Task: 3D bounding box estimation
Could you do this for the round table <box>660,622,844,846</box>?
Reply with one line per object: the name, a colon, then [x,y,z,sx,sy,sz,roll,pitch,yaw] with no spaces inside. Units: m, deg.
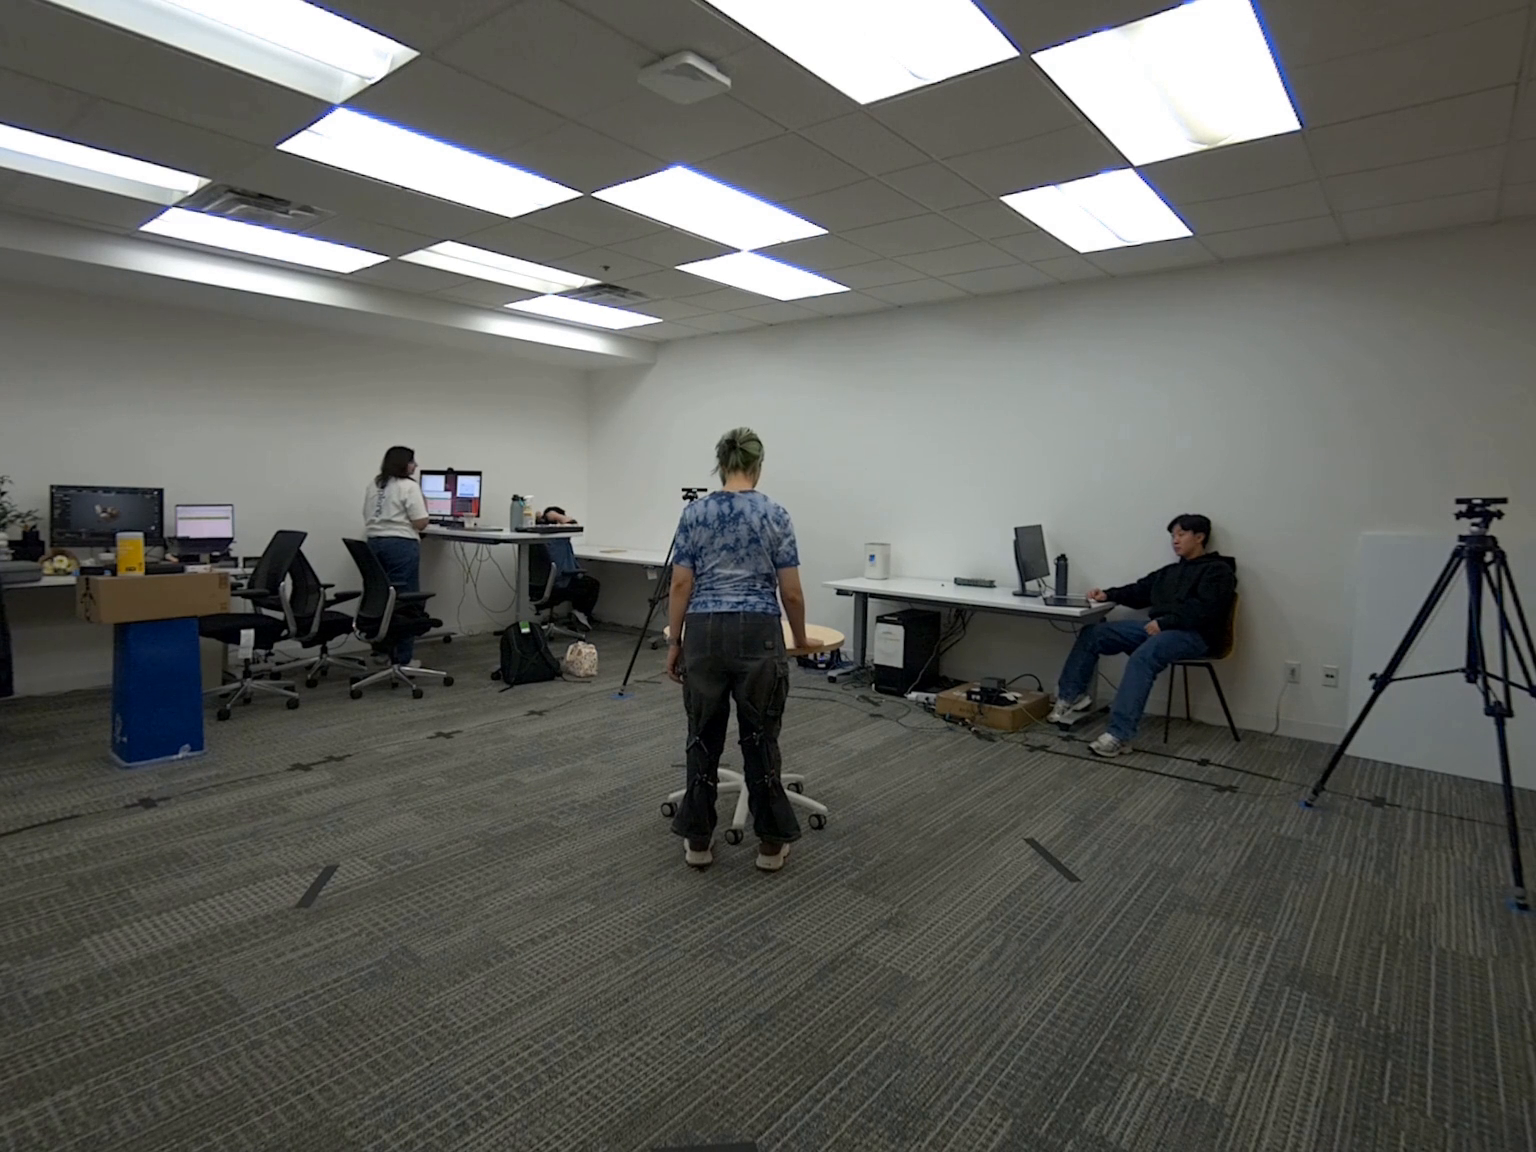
round table: [-0.067,0.625,3.628,0.784,0.784,0.789,1,4,-2]
